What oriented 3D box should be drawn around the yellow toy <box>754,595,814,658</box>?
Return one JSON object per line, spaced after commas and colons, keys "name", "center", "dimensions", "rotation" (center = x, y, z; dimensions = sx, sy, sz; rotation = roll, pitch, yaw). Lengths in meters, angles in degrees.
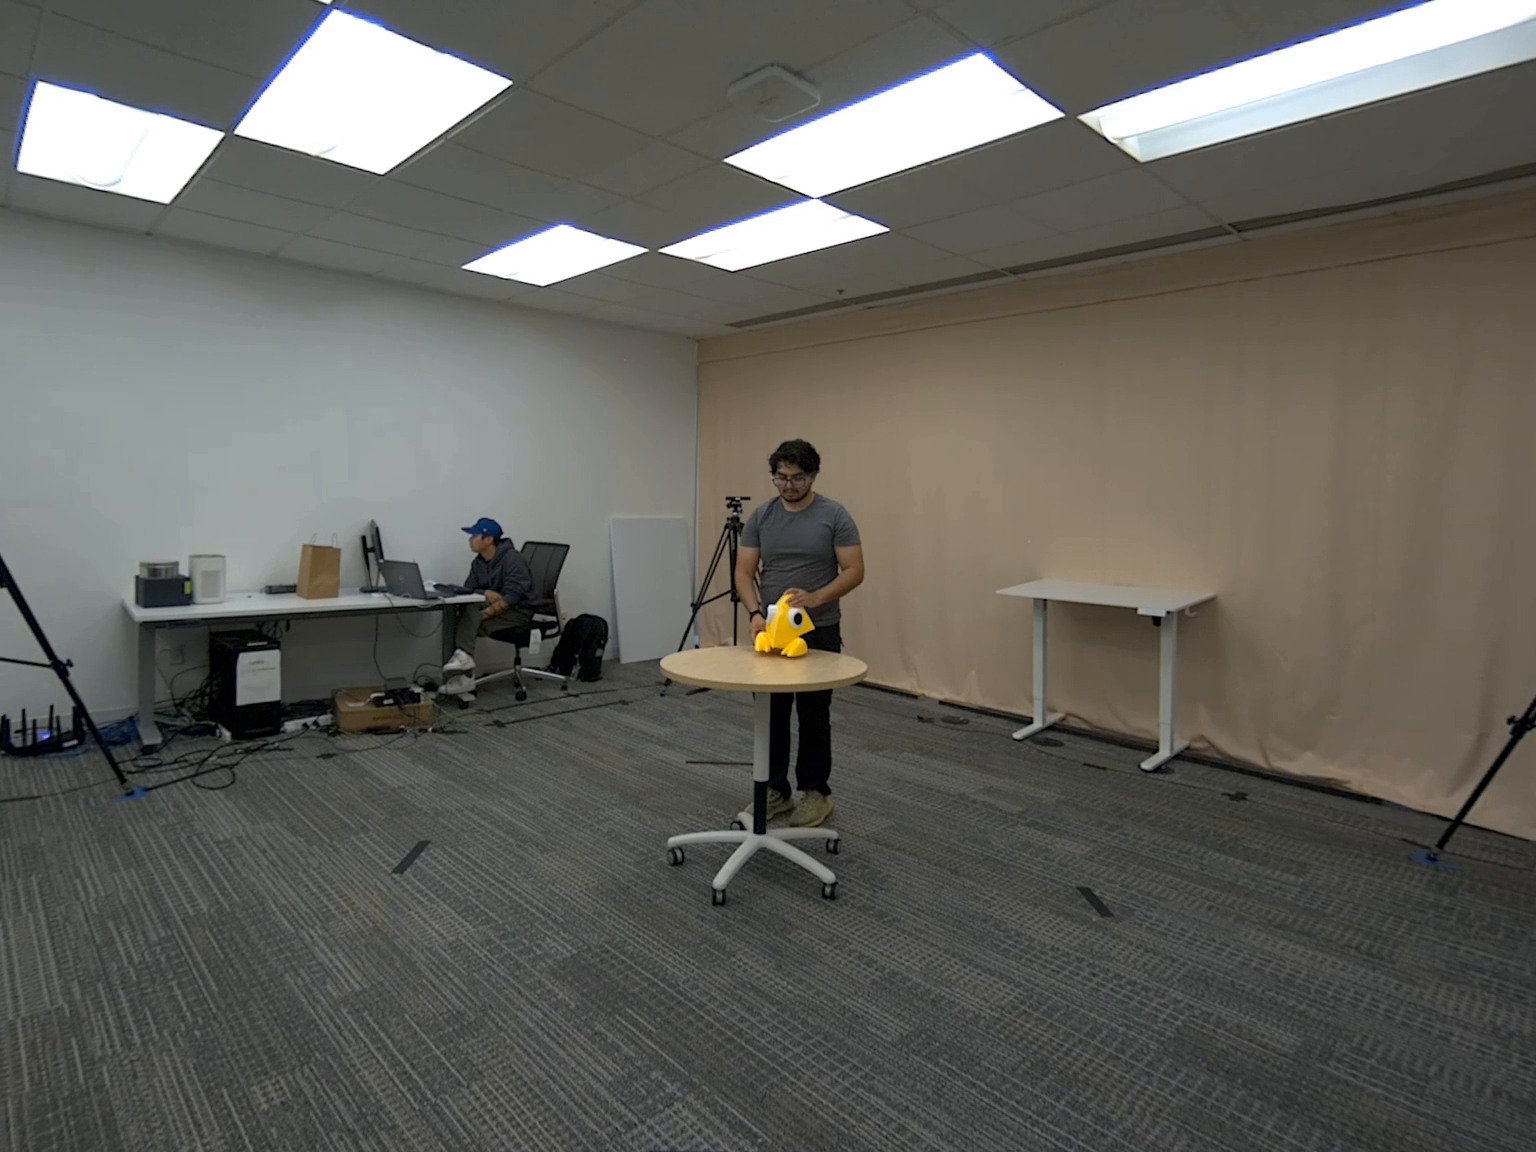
{"name": "yellow toy", "center": [0.050, 0.172, 3.280], "dimensions": [0.208, 0.229, 0.190], "rotation": [6, 9, 22]}
